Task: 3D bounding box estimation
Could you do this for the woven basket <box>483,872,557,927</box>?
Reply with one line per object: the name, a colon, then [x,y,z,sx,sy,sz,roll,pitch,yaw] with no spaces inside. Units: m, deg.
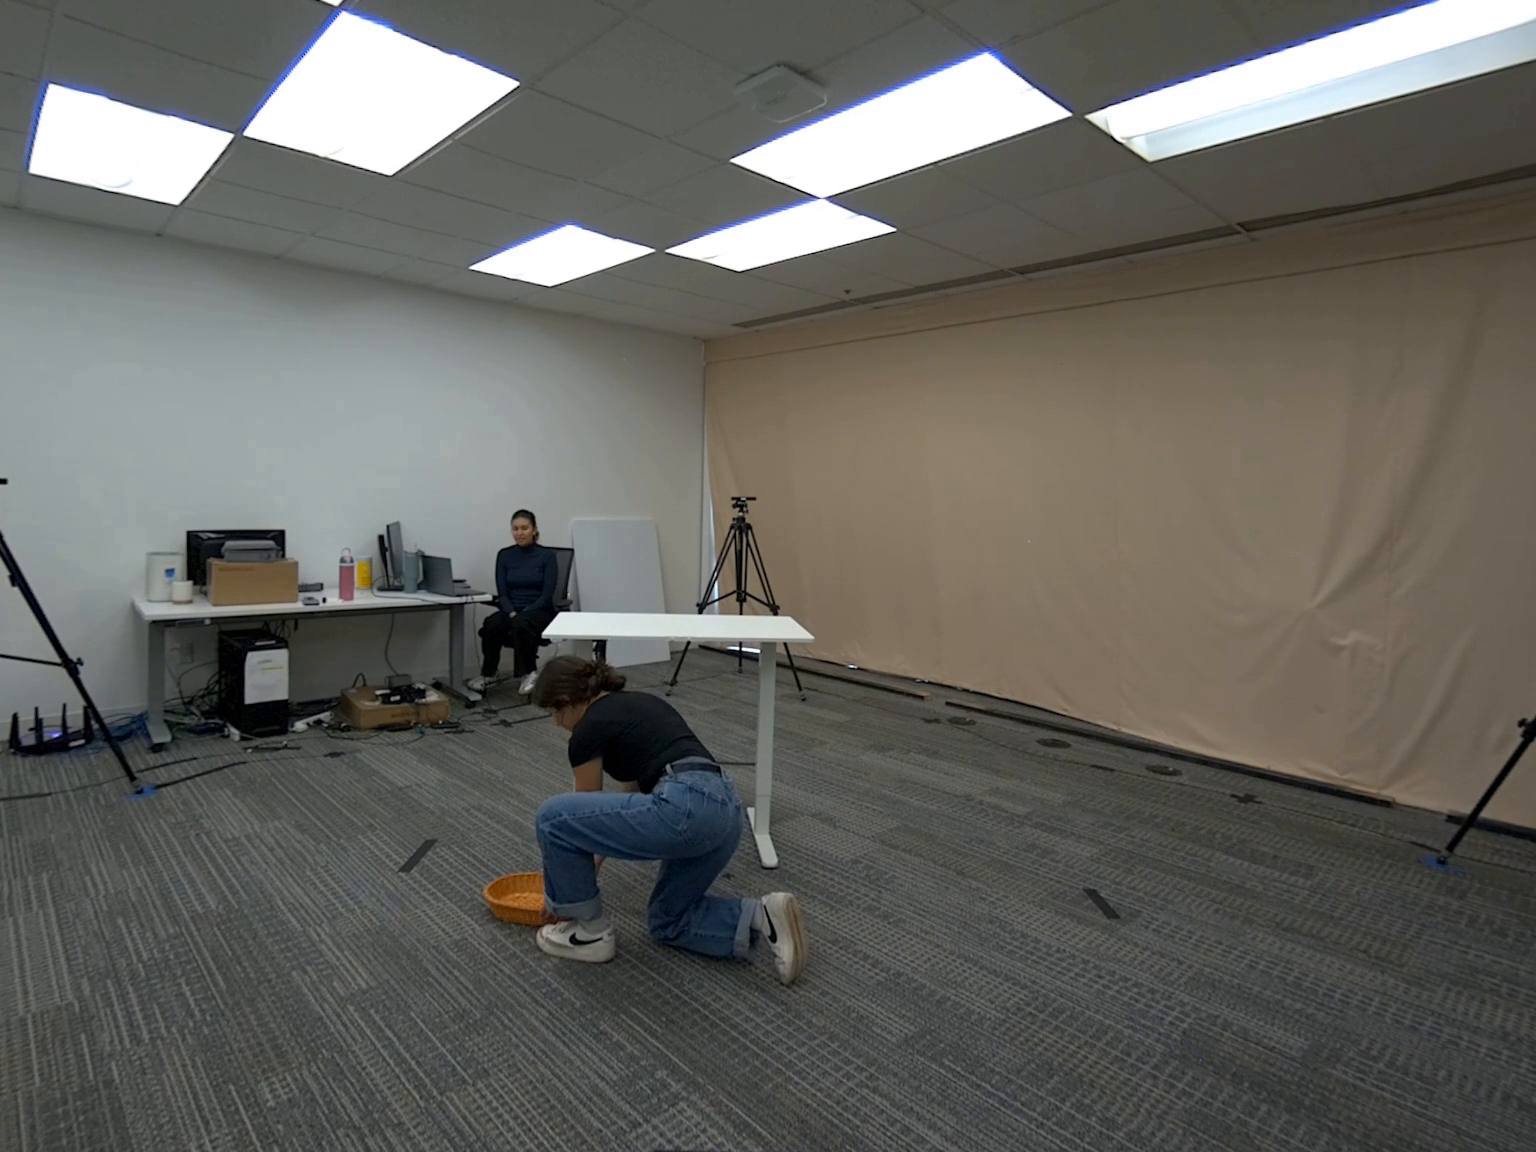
woven basket: [-0.775,1.080,2.804,0.355,0.073,0.249,3,4,16]
